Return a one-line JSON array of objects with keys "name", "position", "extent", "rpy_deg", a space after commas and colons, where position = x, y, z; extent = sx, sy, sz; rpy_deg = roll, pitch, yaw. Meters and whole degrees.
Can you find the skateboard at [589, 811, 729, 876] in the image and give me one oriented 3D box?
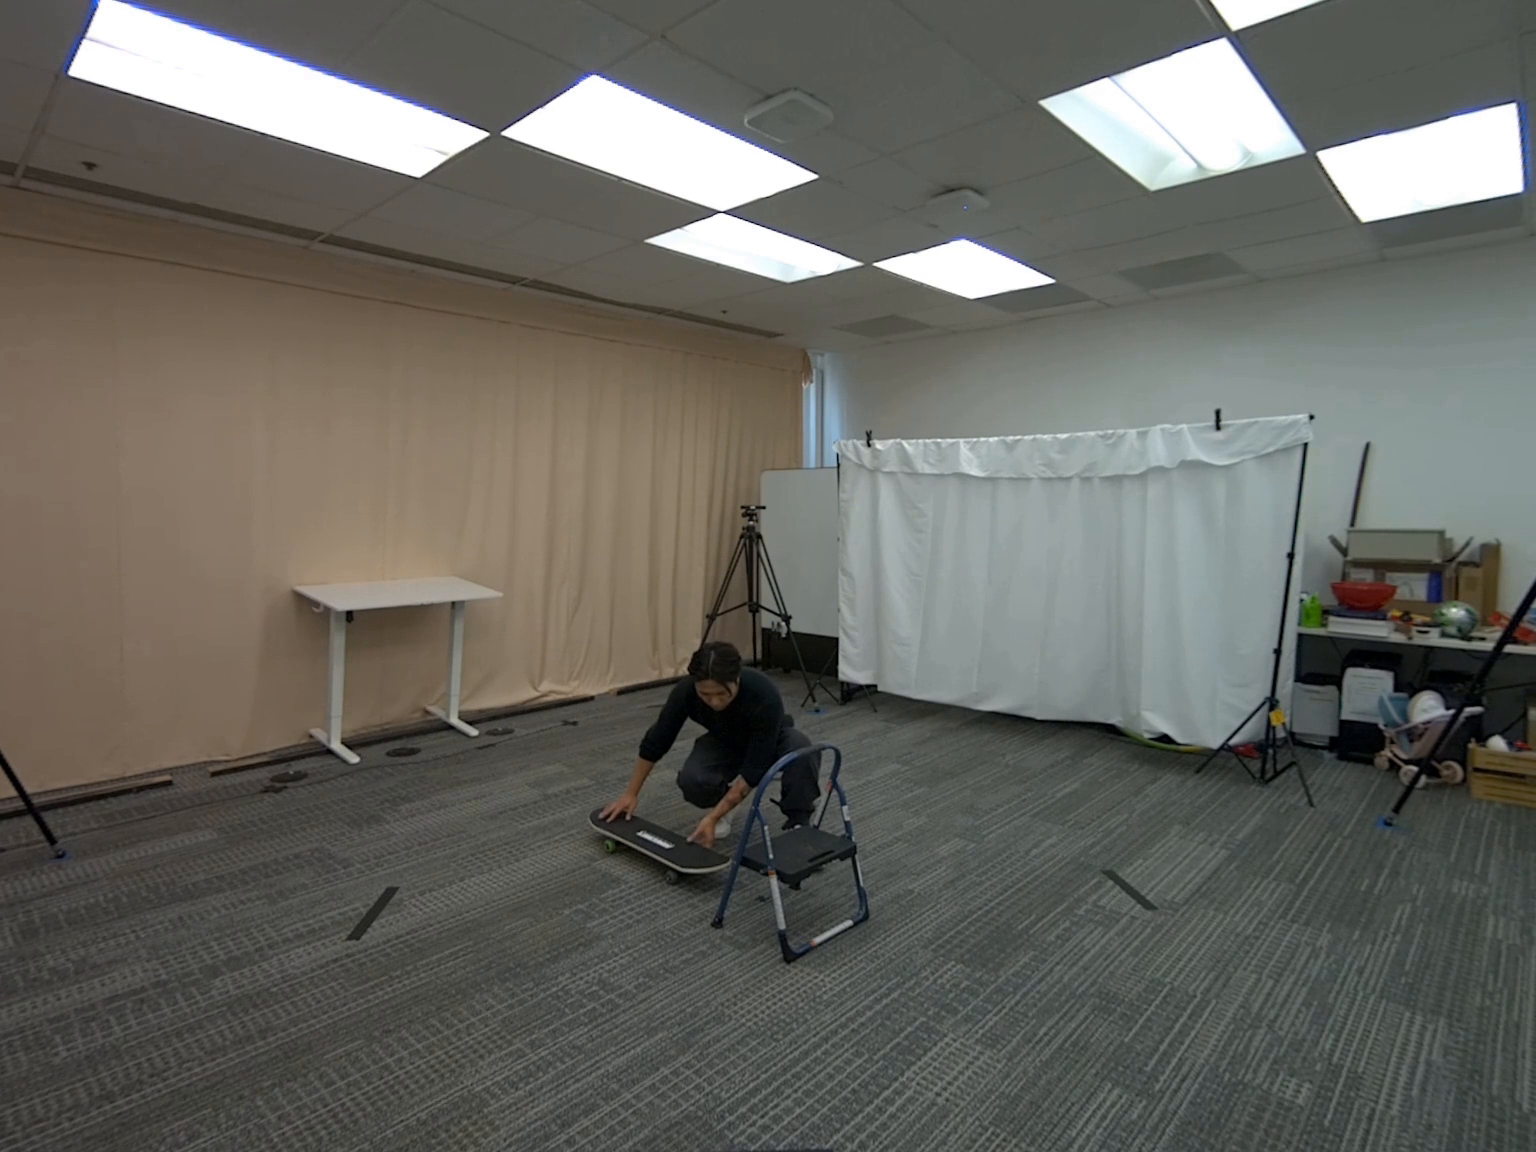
[{"name": "skateboard", "position": [-0.441, 1.064, 3.306], "extent": [0.188, 0.110, 0.811], "rpy_deg": [-6, 6, -43]}]
